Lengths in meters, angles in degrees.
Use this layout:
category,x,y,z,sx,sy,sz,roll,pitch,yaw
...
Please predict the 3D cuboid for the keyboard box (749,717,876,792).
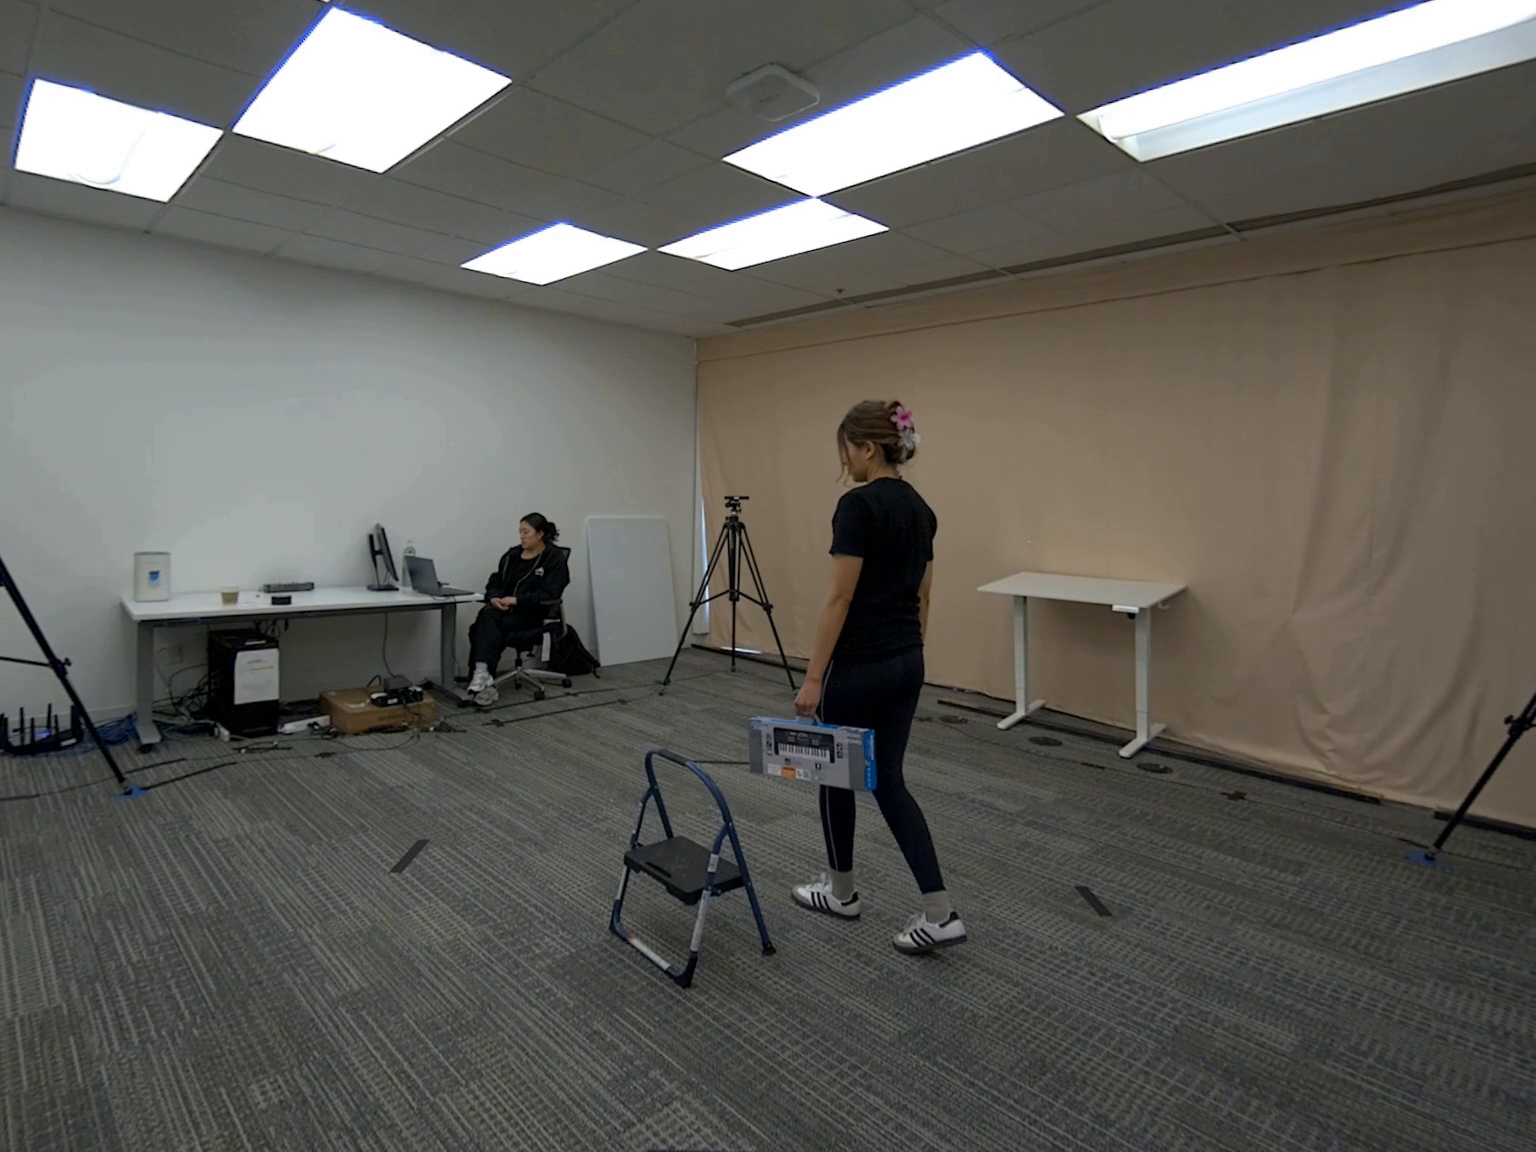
category,x,y,z,sx,sy,sz,roll,pitch,yaw
keyboard box,0.122,0.541,2.575,0.447,0.176,0.058,-1,0,40
